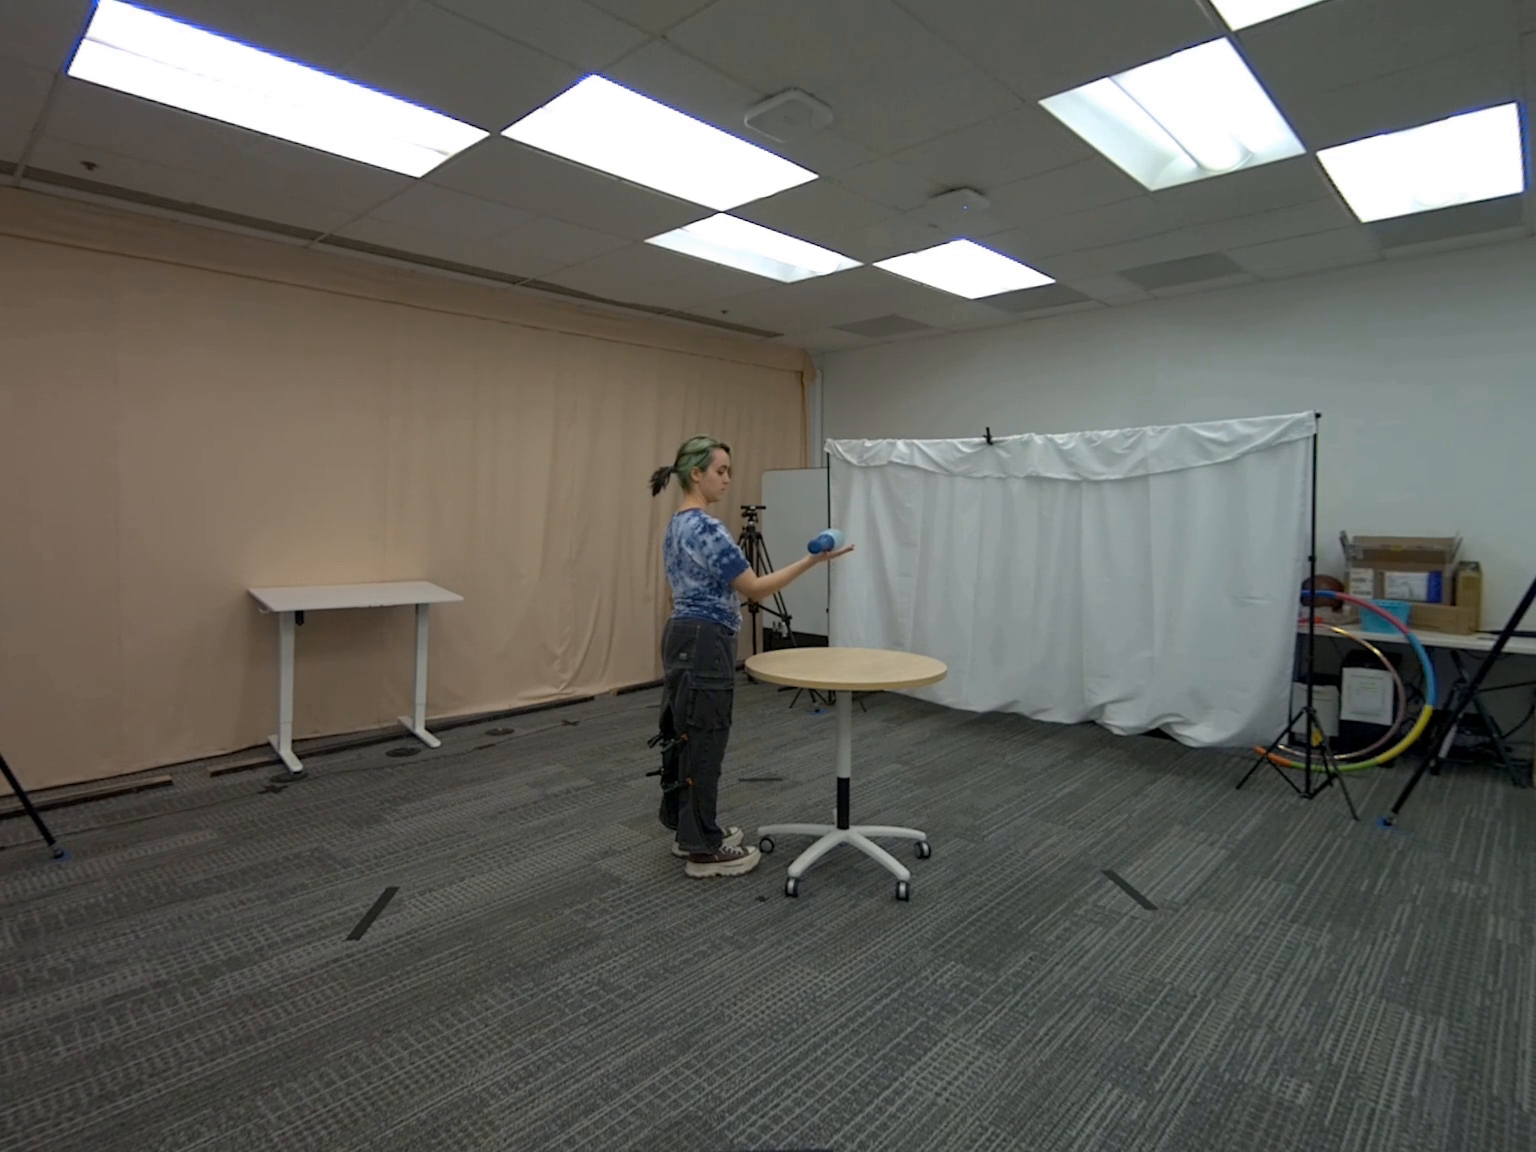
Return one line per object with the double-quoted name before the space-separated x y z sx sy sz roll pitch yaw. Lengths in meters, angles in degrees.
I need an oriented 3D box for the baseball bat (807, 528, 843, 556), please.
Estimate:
"baseball bat" 0.211 -0.113 3.019 0.090 0.089 0.537 1 5 11
